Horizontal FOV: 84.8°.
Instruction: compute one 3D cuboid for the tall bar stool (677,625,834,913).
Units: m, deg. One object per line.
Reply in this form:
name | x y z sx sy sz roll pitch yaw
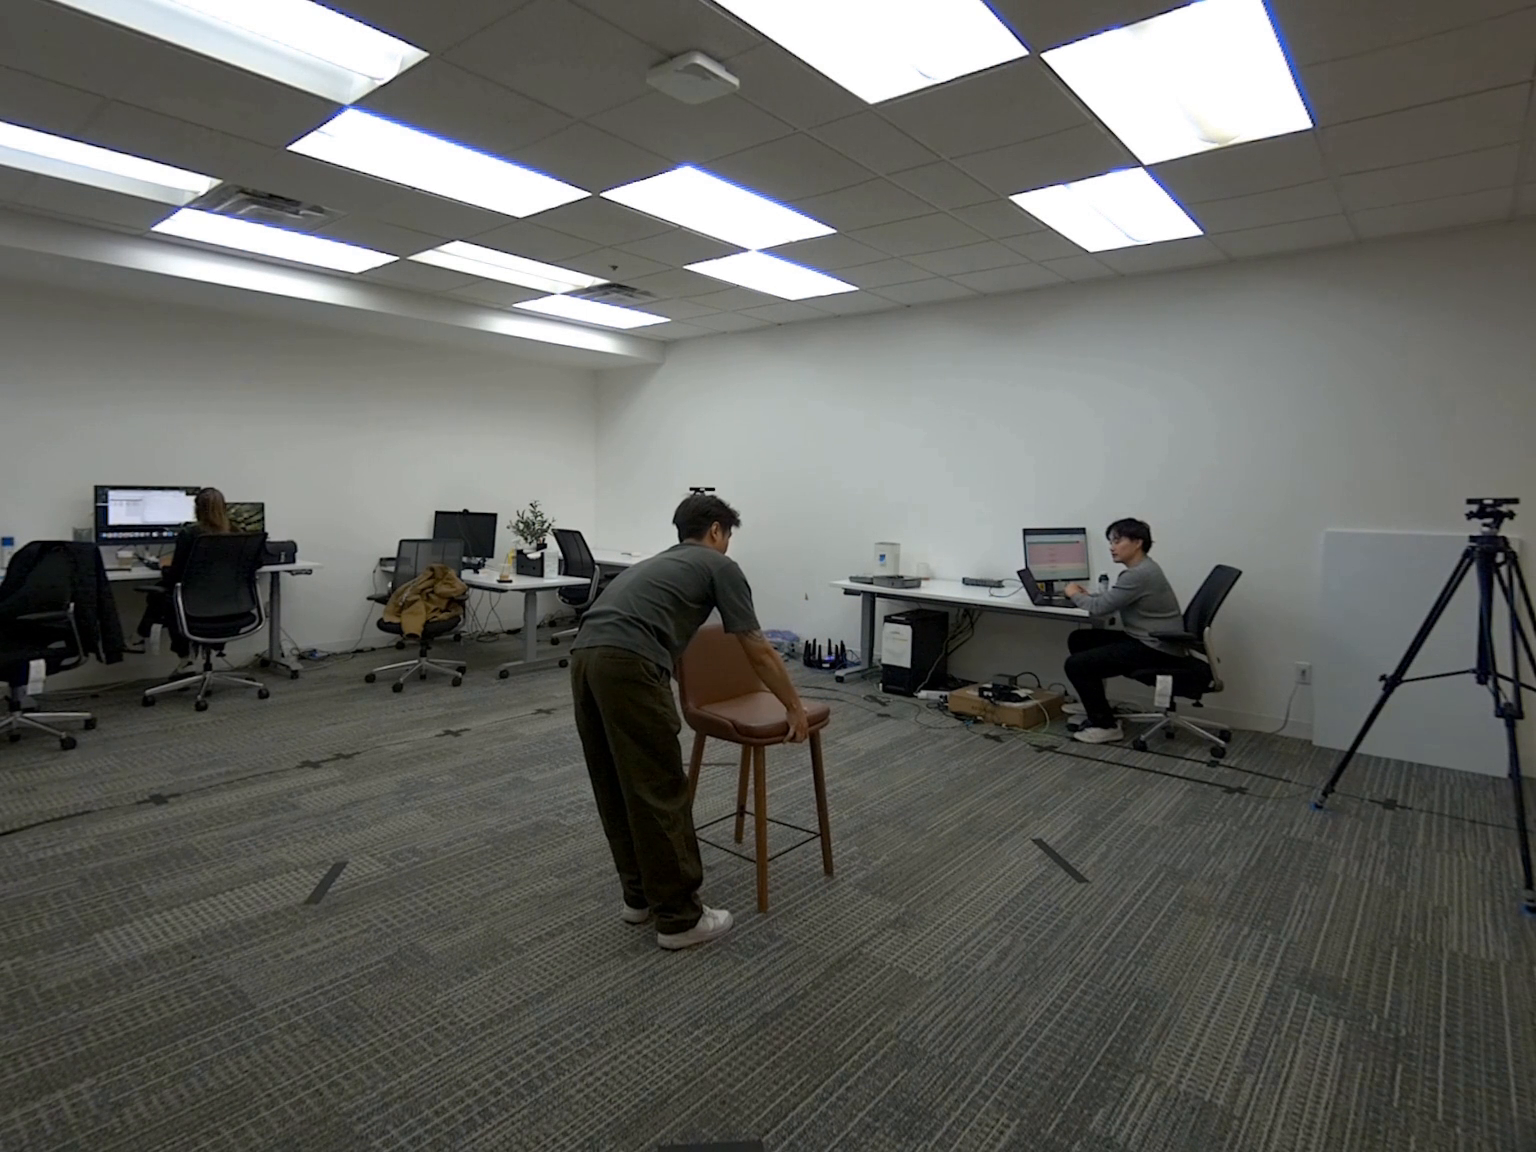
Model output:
tall bar stool | -0.059 0.633 3.068 0.483 0.888 0.442 3 3 40
